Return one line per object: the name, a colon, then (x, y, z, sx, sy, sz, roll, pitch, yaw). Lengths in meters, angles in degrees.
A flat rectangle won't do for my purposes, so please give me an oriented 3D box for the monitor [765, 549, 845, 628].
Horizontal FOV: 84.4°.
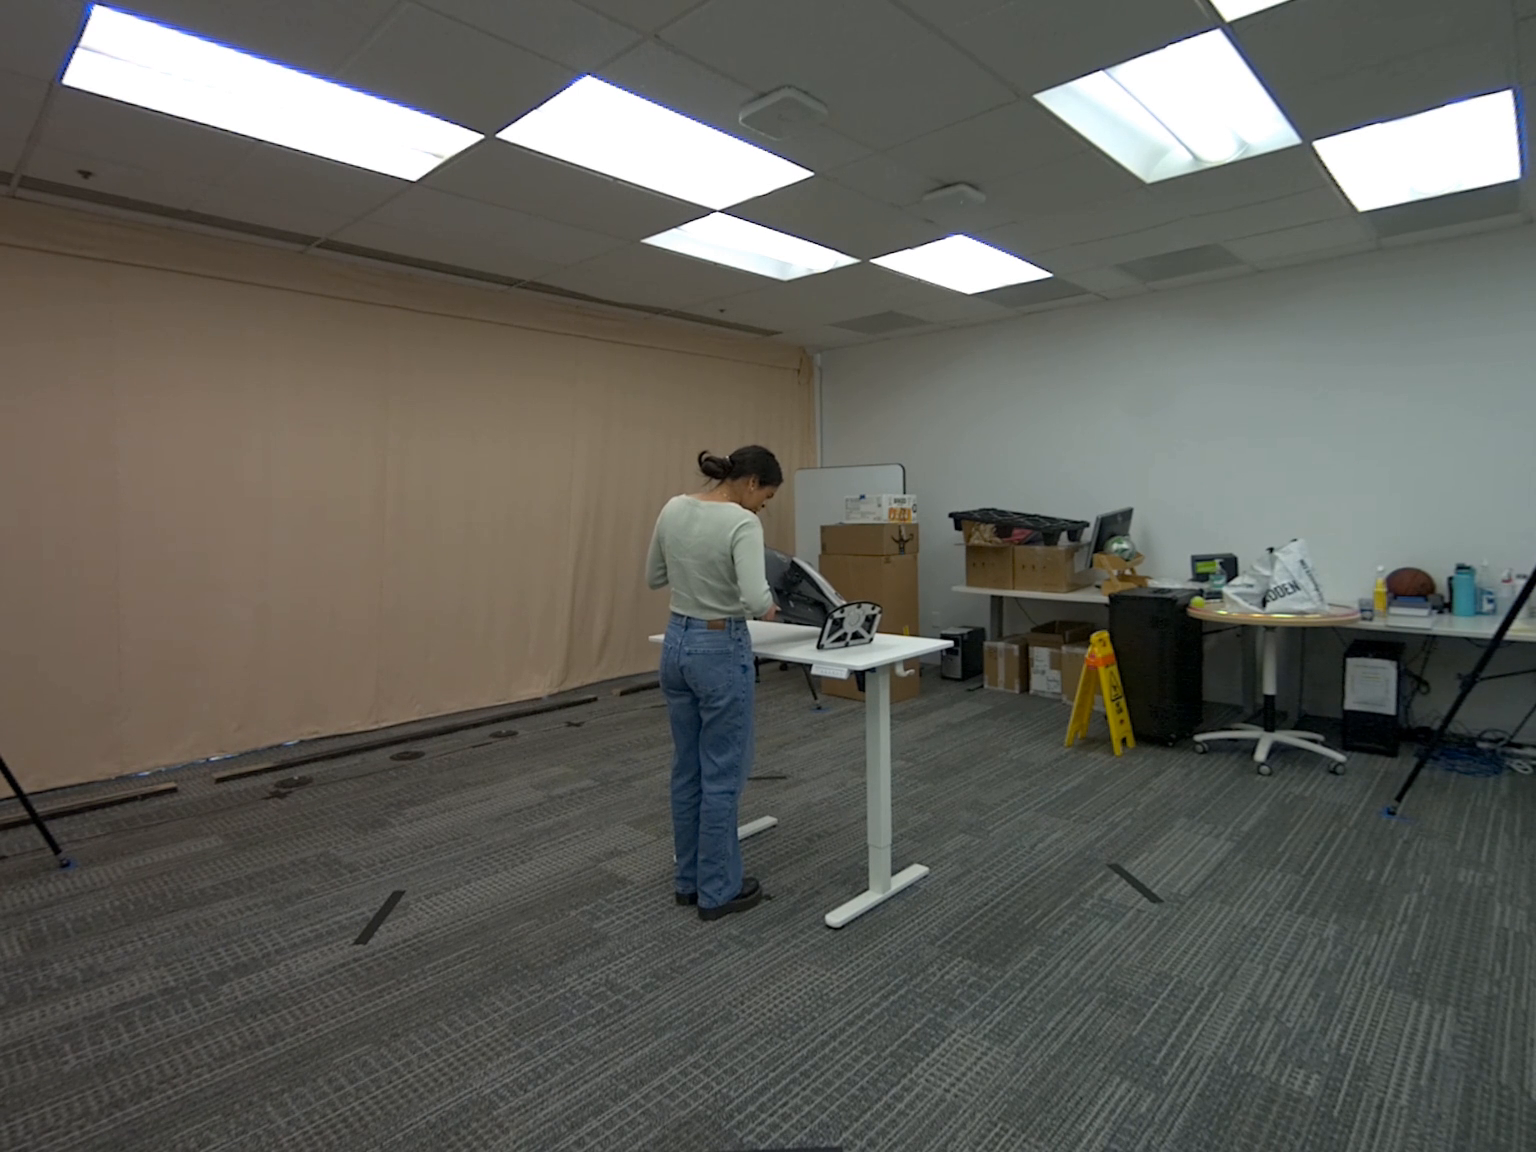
monitor: (0.161, 0.057, 3.111, 0.520, 0.187, 0.541, 20, 18, -49)
